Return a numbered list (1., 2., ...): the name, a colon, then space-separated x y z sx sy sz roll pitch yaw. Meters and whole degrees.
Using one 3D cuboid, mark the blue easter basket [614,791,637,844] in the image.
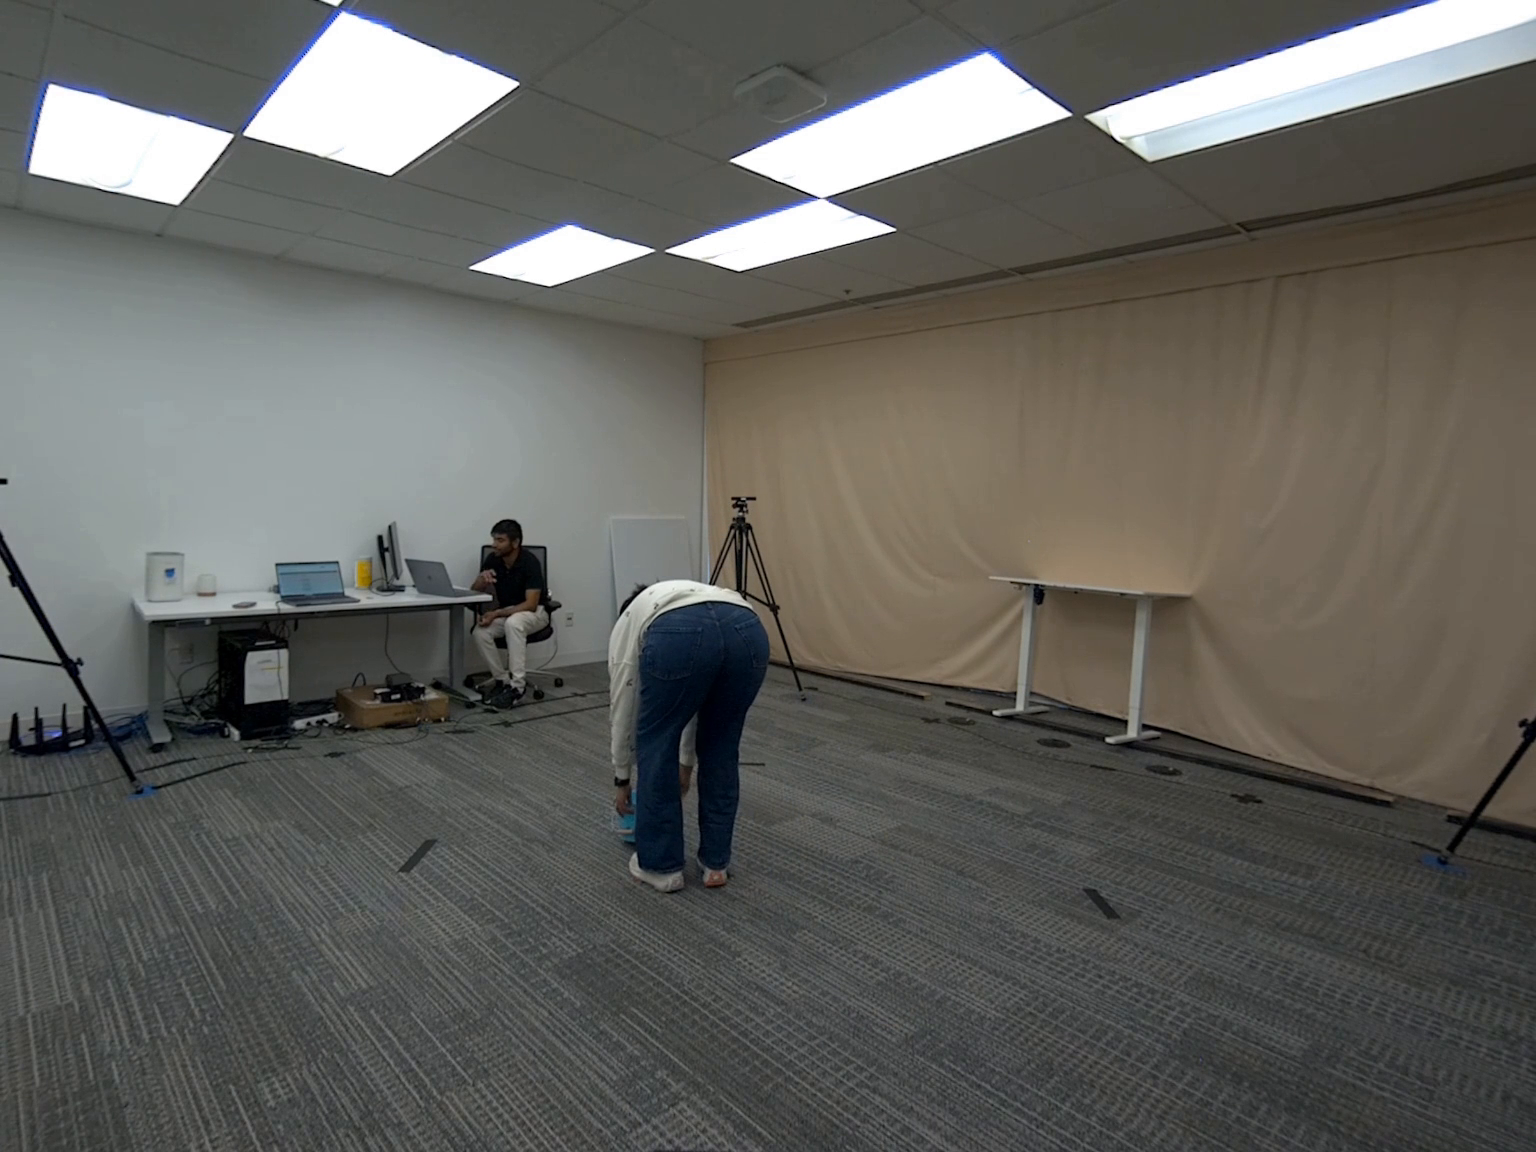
1. blue easter basket: -0.517 0.967 3.384 0.243 0.156 0.243 -1 -1 -1
